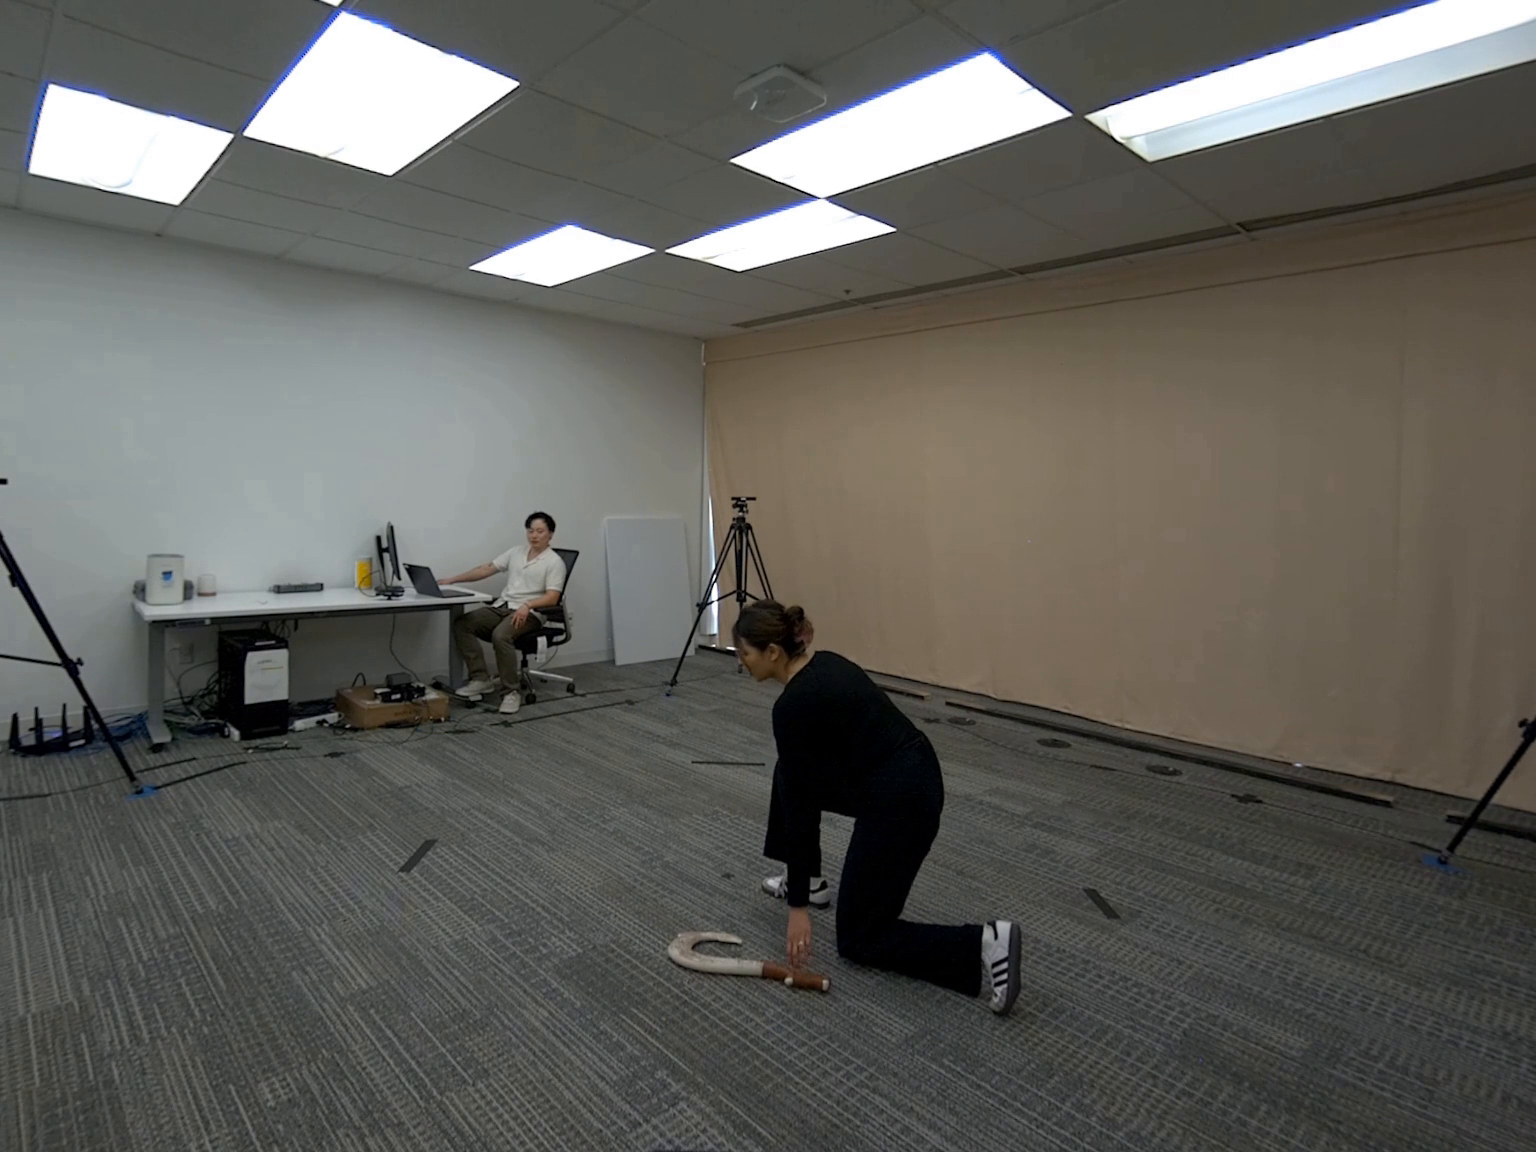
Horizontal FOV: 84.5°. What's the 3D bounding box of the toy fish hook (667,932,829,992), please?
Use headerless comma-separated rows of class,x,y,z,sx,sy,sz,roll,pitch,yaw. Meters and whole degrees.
toy fish hook,-0.051,1.137,2.508,0.514,0.048,0.222,3,7,17
